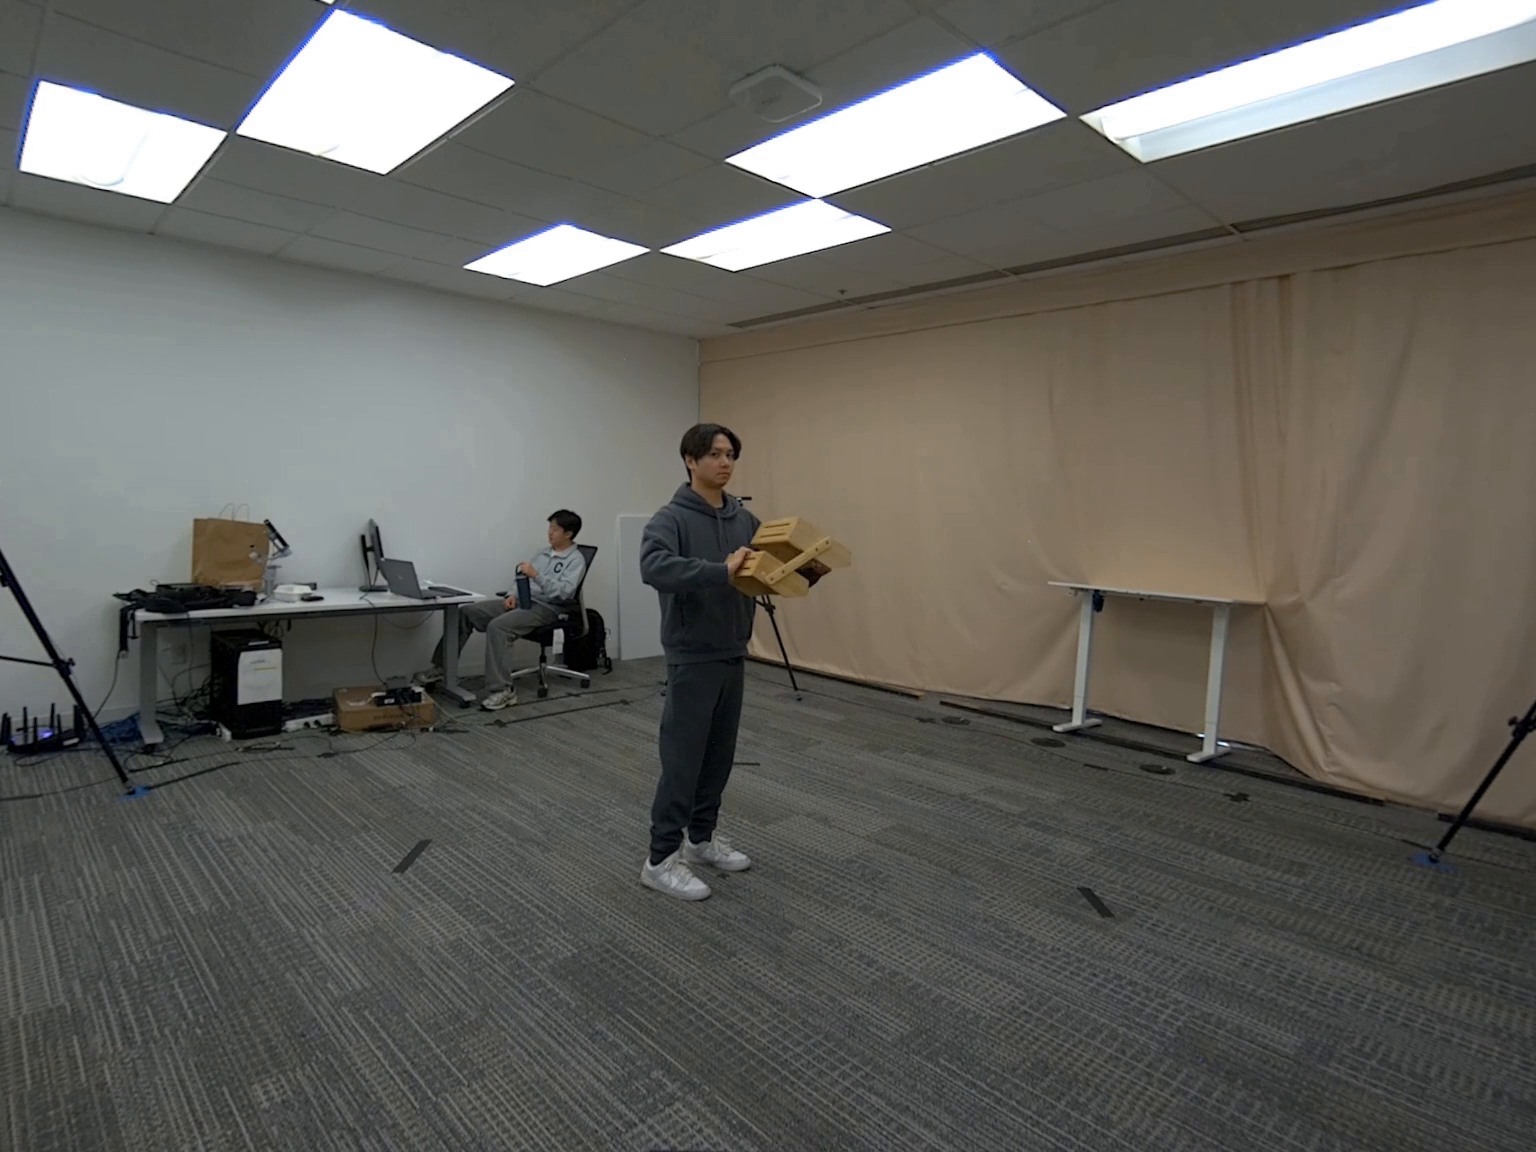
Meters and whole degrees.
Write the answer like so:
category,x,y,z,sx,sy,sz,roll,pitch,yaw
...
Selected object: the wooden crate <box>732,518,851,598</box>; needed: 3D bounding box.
category,x,y,z,sx,sy,sz,roll,pitch,yaw
wooden crate,0.051,-0.032,2.931,0.296,0.274,0.329,33,-14,-19
